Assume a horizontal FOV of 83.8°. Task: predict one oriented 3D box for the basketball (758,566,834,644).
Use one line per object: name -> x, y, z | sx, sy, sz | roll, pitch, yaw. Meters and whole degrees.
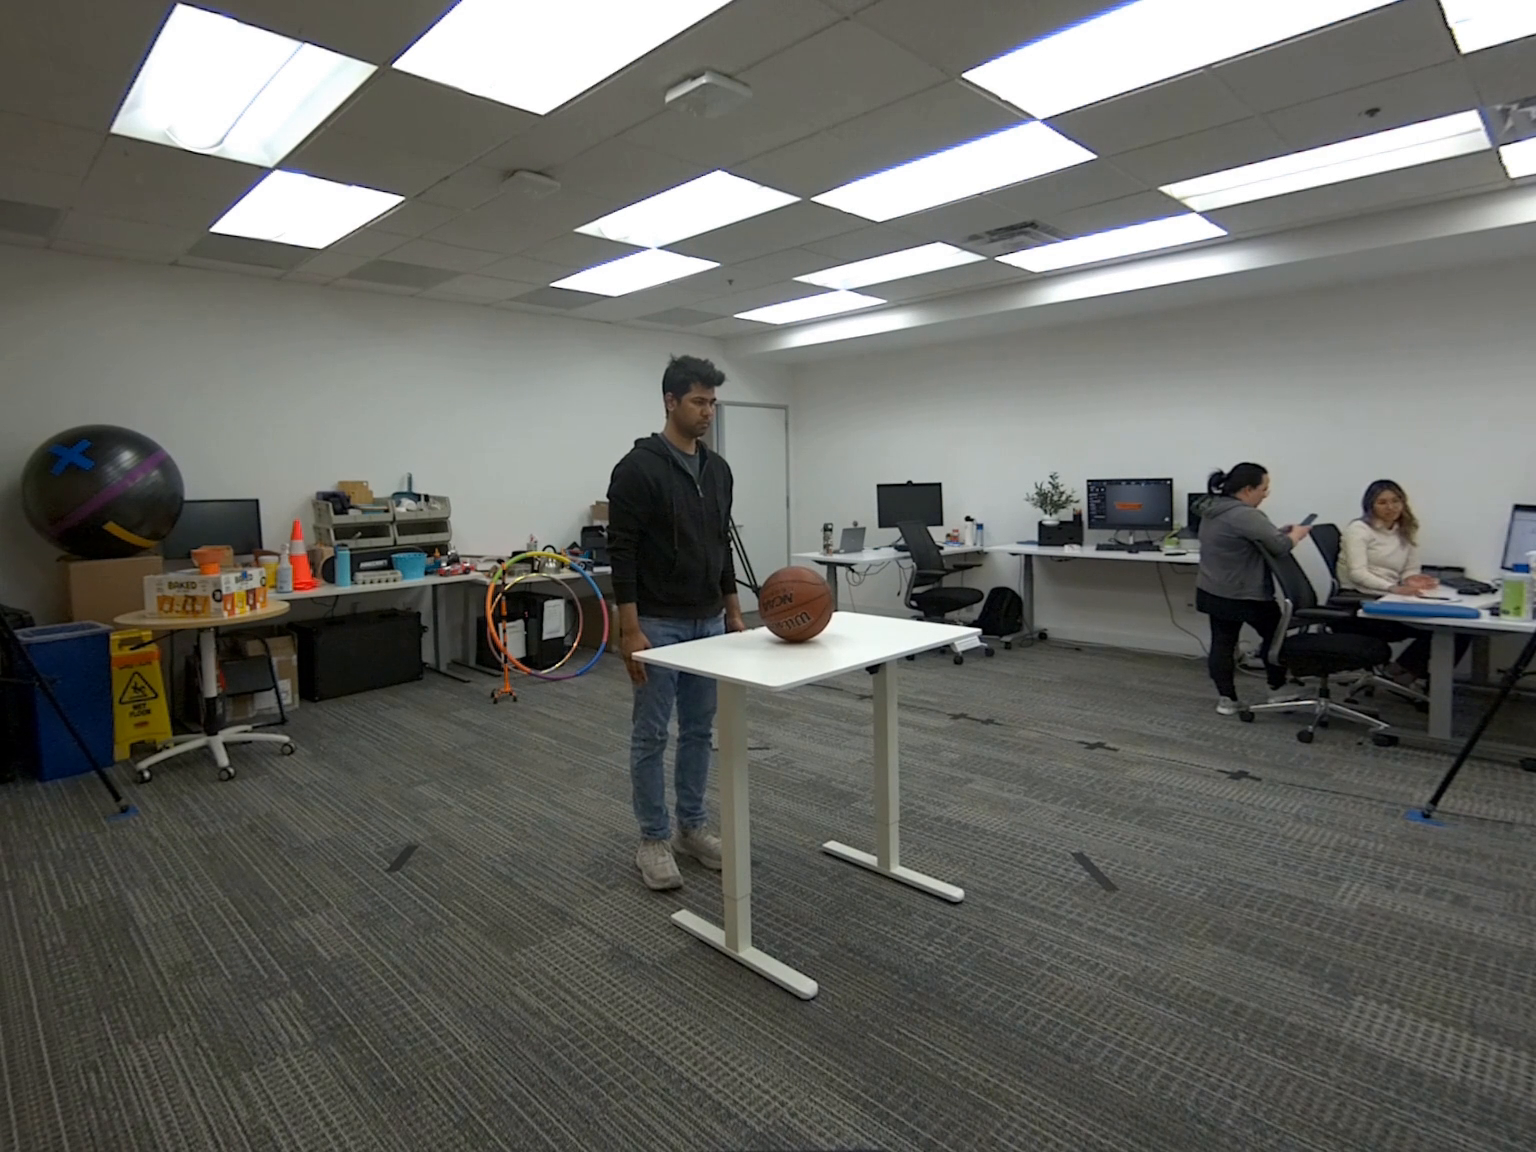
basketball -> 0.094, 0.090, 2.697 | 0.236, 0.235, 0.237 | -1, 5, -2
